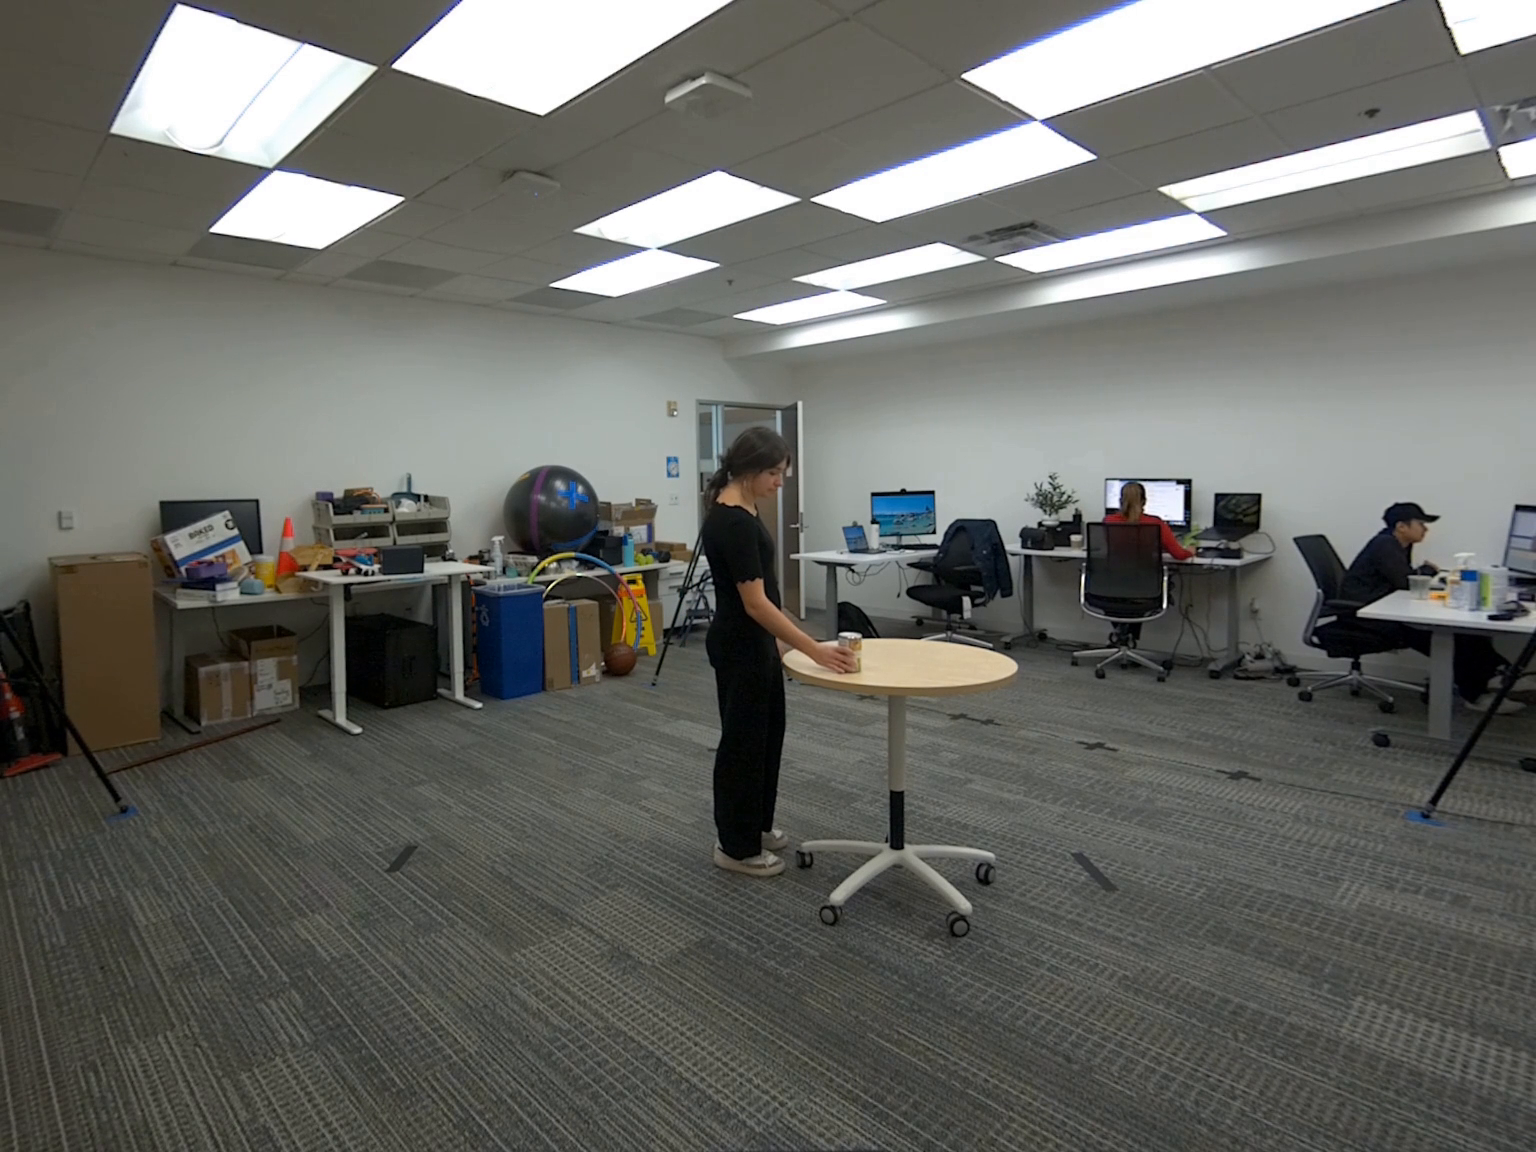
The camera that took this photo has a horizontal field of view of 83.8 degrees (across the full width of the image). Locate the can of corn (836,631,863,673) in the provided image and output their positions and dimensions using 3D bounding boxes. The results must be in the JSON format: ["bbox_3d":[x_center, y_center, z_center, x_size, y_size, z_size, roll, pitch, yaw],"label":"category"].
[{"bbox_3d":[0.260,0.239,2.693,0.074,0.110,0.074,0,5,-2],"label":"can of corn"}]
